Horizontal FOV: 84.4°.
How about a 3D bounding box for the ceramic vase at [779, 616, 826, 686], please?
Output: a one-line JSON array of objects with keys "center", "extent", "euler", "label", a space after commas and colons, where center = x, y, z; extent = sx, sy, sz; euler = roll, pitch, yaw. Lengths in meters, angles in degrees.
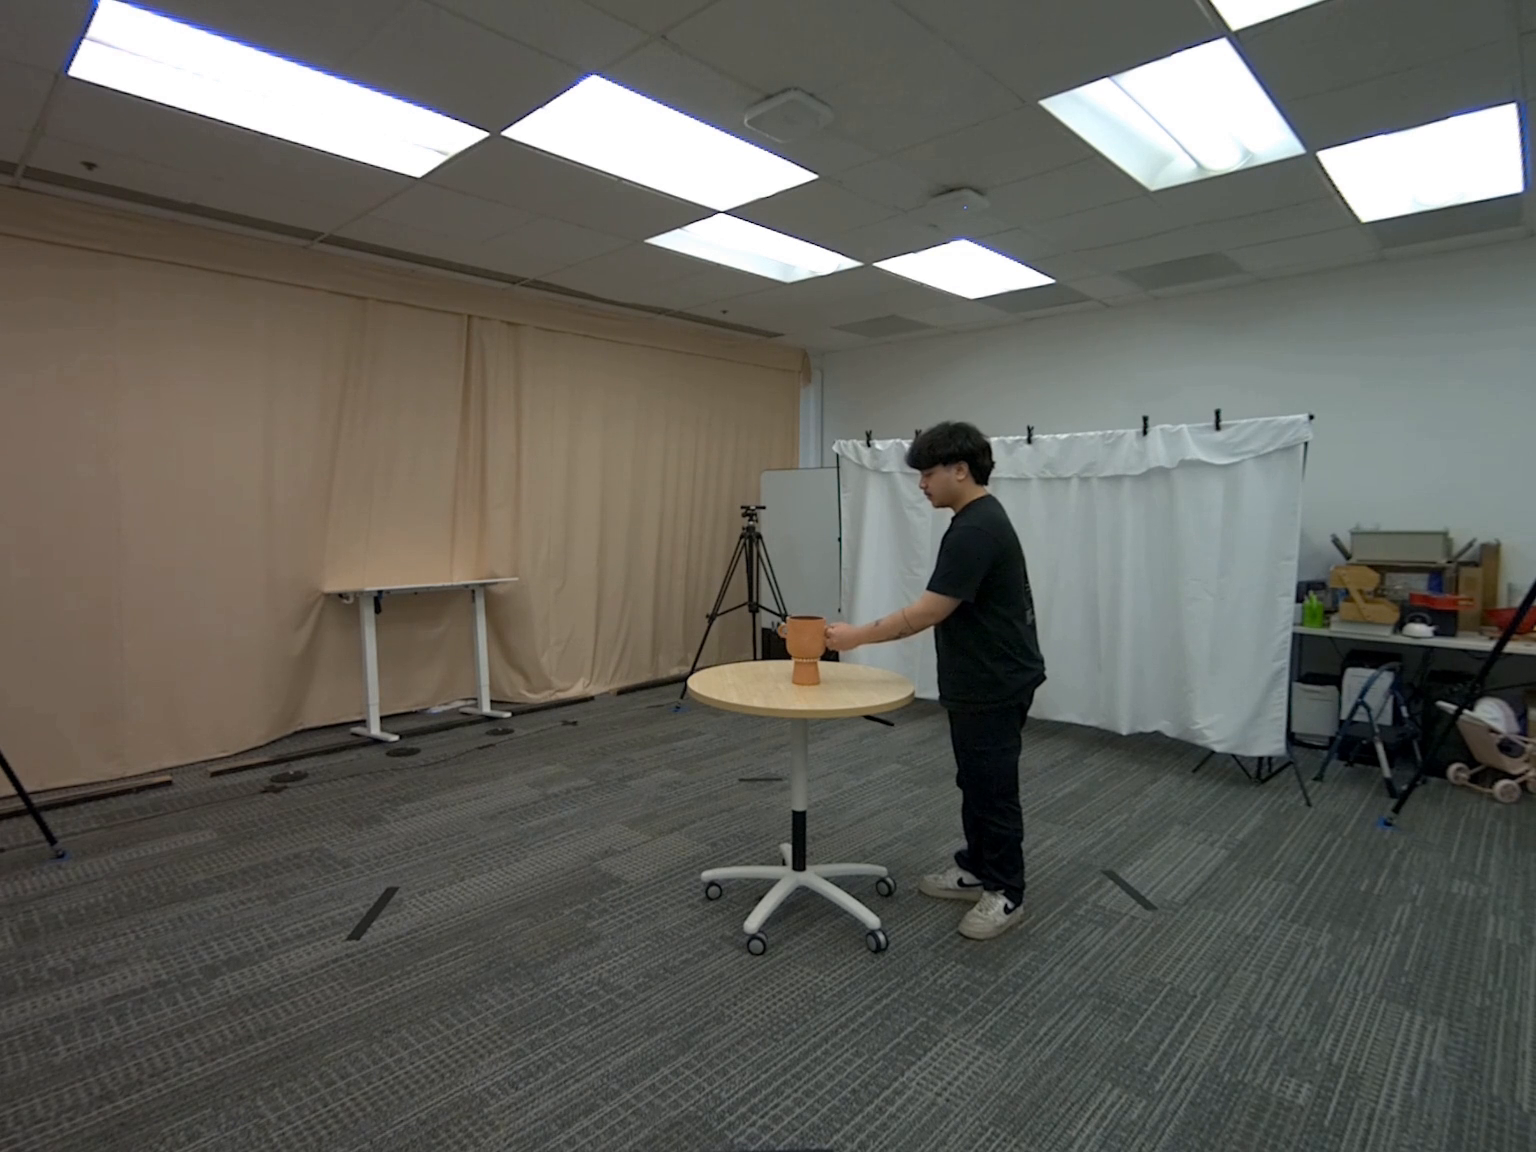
[{"center": [0.138, 0.255, 2.844], "extent": [0.131, 0.219, 0.163], "euler": [-1, 4, -30], "label": "ceramic vase"}]
